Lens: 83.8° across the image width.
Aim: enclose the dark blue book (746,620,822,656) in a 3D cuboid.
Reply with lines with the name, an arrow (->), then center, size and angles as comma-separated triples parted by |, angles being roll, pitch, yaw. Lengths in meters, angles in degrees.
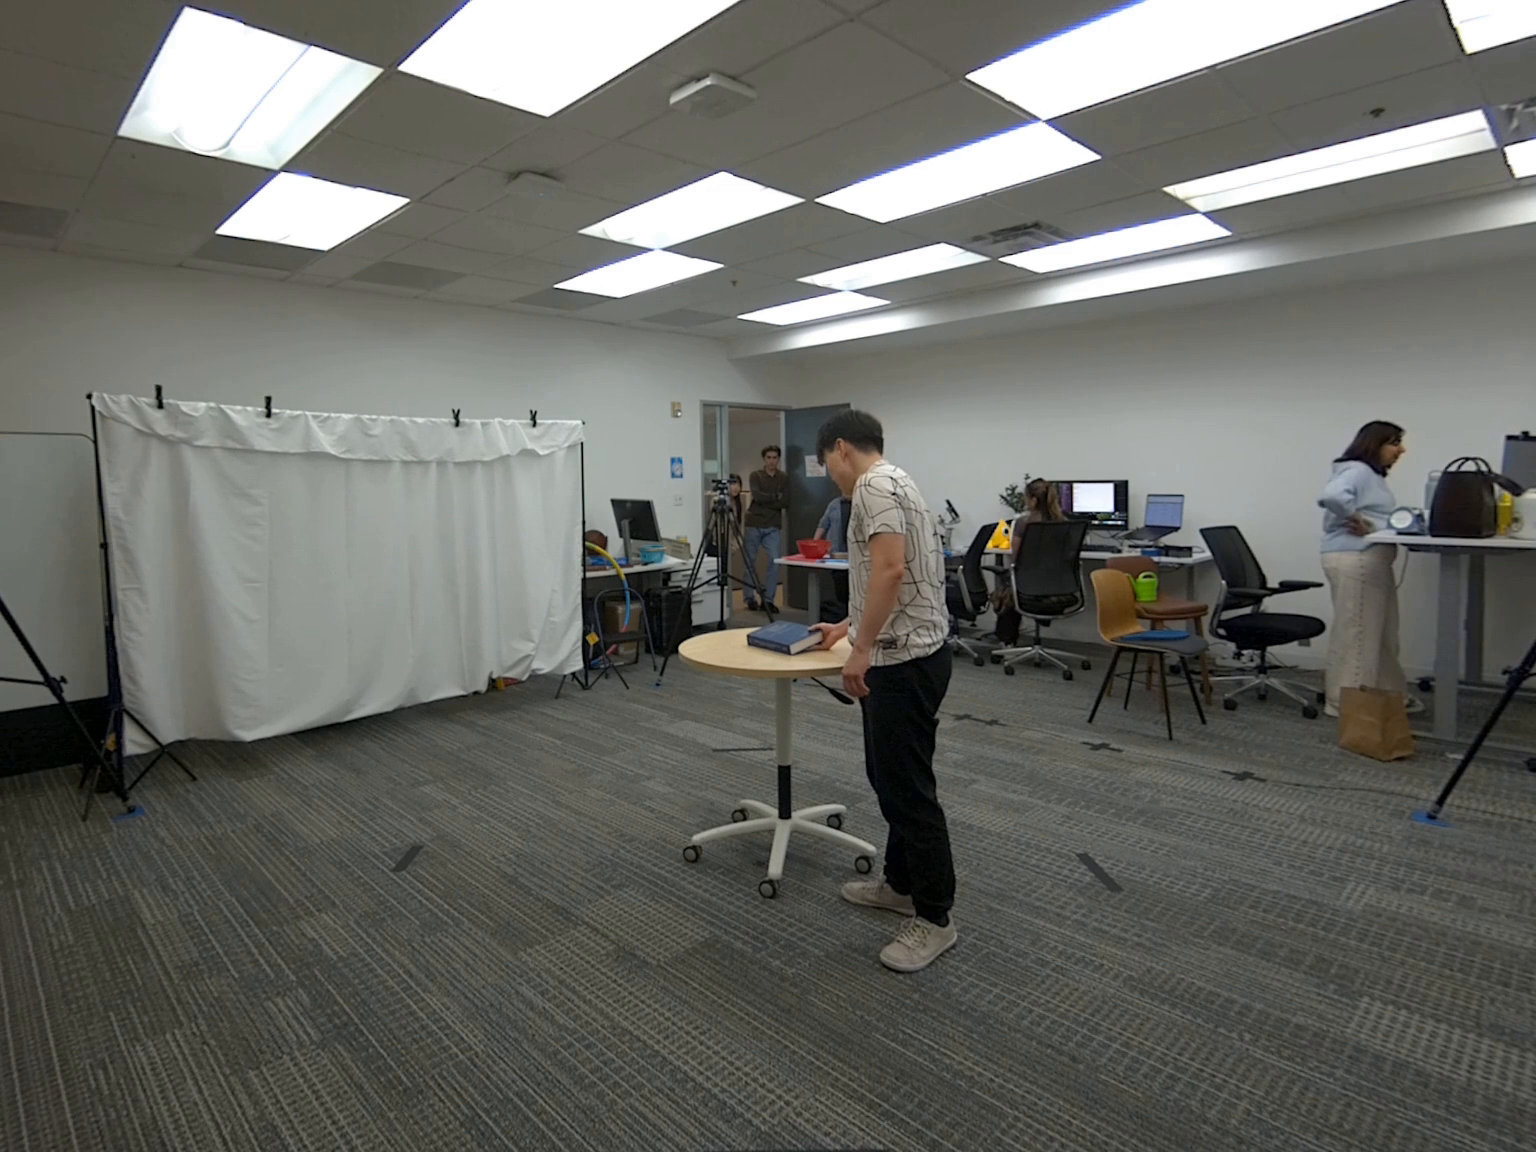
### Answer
dark blue book -> 0.054, 0.227, 3.103 | 0.160, 0.044, 0.253 | -20, 17, -35
